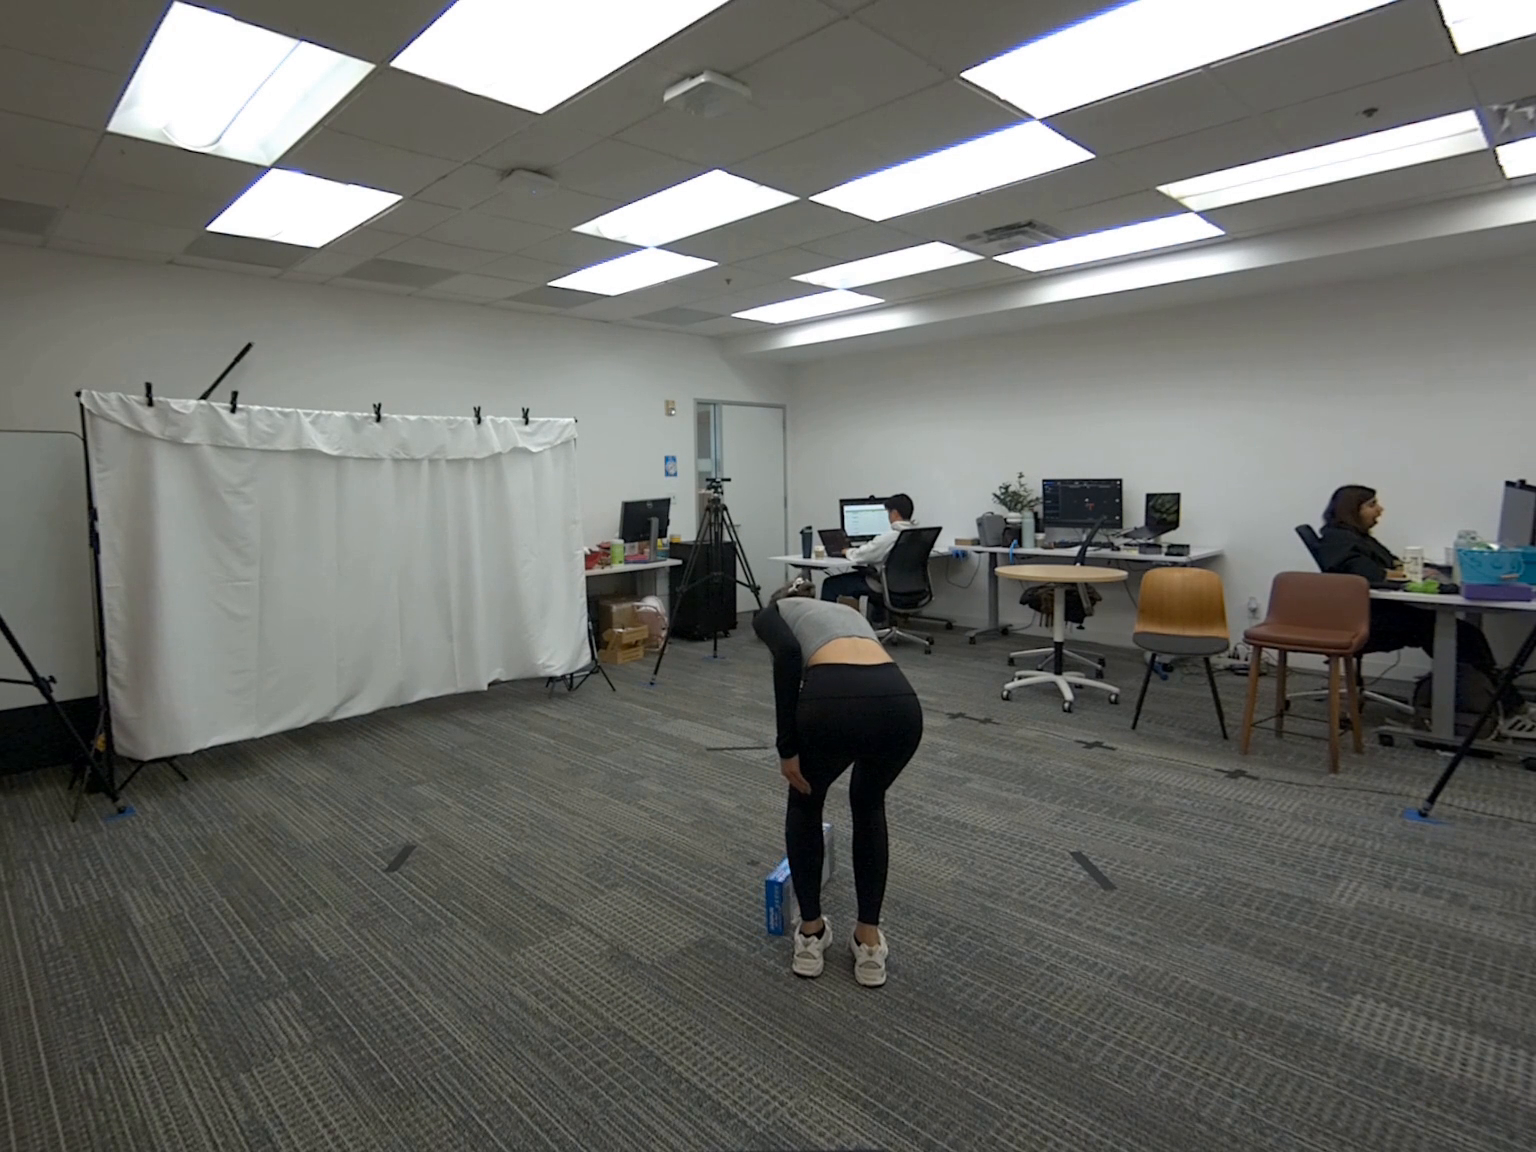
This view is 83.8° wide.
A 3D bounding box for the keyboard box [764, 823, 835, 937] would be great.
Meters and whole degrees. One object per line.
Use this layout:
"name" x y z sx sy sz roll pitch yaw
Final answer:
"keyboard box" 0.118 0.980 2.797 0.060 0.175 0.429 0 9 26
